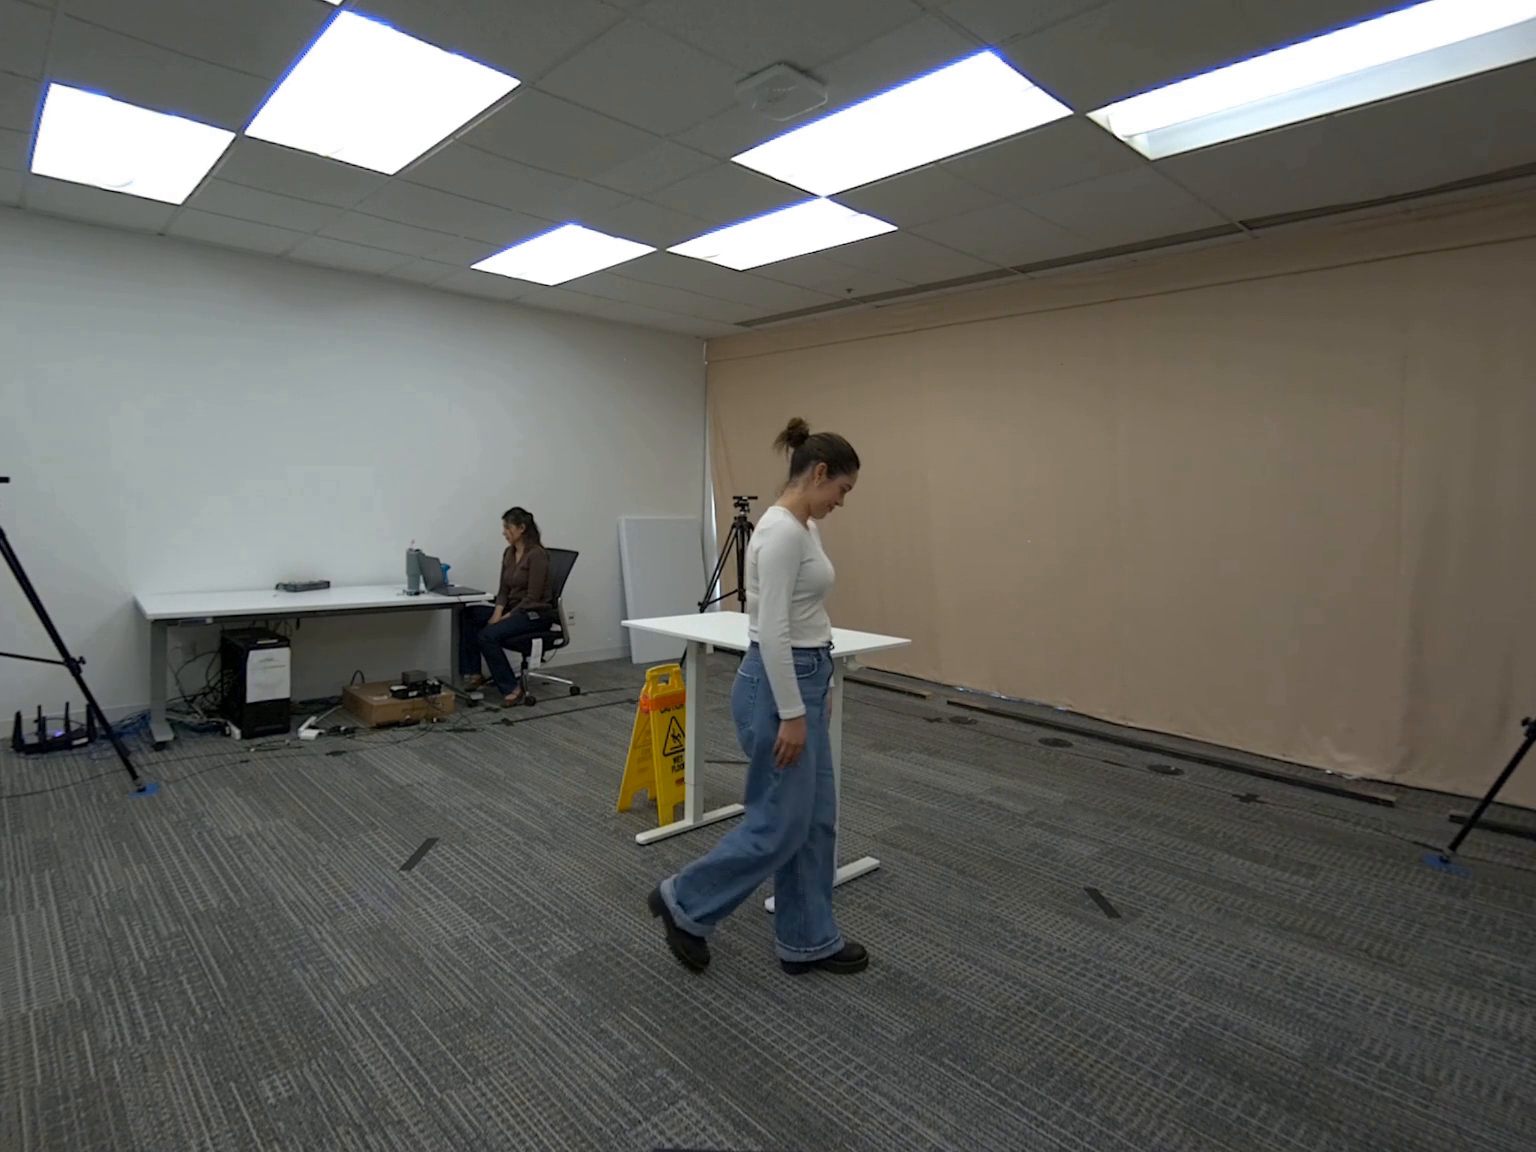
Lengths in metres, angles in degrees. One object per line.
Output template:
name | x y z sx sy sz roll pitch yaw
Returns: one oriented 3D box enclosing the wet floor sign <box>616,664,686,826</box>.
wet floor sign | -0.476 0.720 3.709 0.297 0.645 0.276 3 2 38
